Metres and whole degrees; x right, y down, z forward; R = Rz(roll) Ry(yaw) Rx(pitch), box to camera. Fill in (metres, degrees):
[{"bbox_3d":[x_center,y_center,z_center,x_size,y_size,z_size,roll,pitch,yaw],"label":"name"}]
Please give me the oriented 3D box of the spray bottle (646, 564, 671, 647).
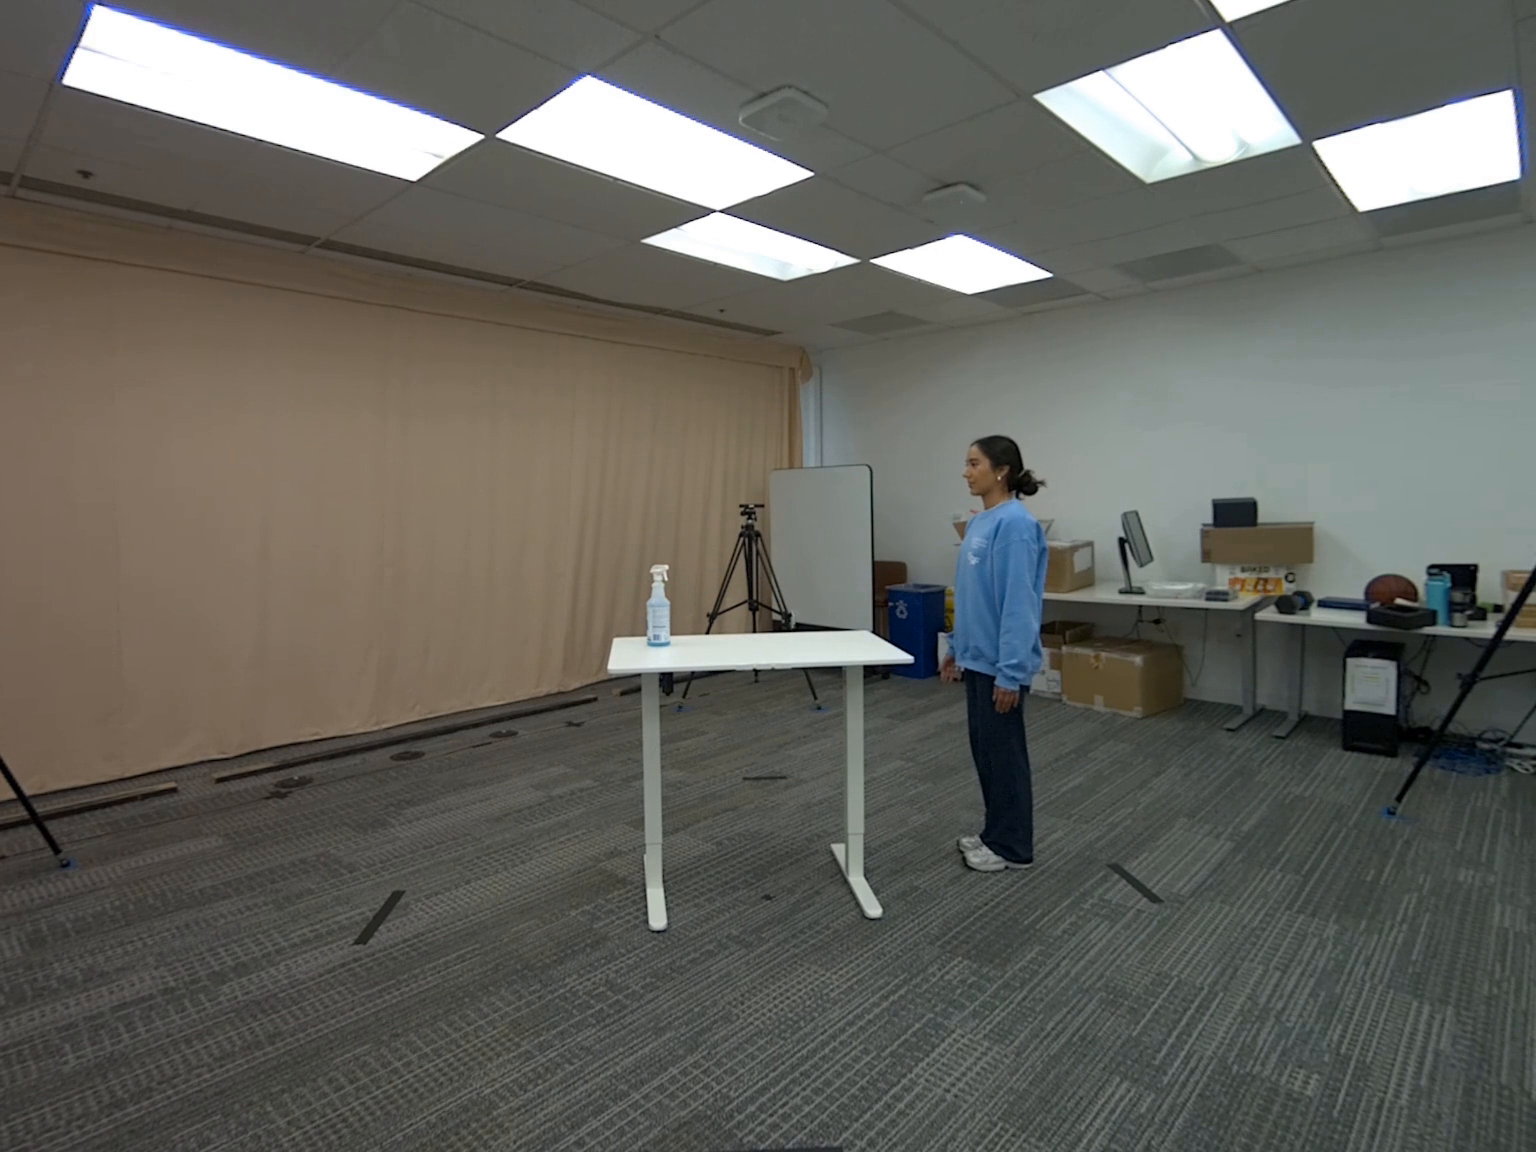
[{"bbox_3d":[-0.402,0.110,3.095,0.085,0.296,0.092,-2,5,-23],"label":"spray bottle"}]
